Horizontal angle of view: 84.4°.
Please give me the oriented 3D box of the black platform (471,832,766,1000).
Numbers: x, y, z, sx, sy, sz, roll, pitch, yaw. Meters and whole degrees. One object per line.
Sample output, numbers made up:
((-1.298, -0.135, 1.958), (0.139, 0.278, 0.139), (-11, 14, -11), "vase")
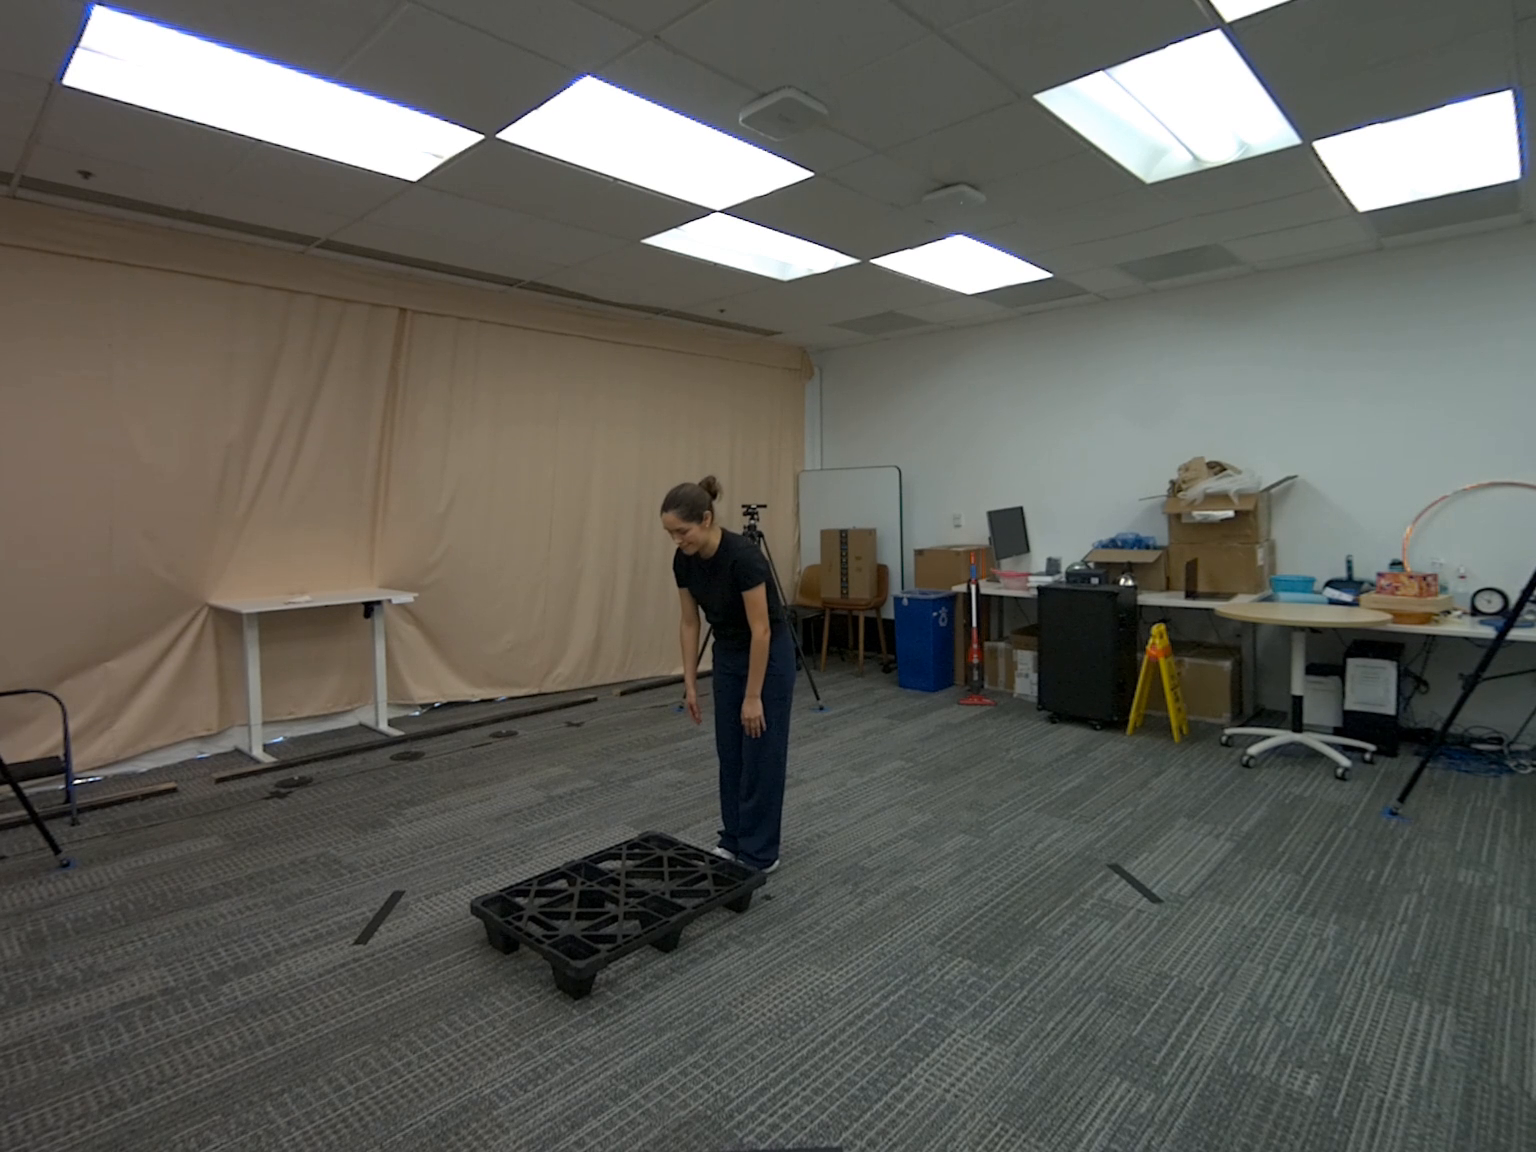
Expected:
((-0.464, 1.103, 2.799), (0.625, 0.143, 0.782), (4, 8, 42), "black platform")
